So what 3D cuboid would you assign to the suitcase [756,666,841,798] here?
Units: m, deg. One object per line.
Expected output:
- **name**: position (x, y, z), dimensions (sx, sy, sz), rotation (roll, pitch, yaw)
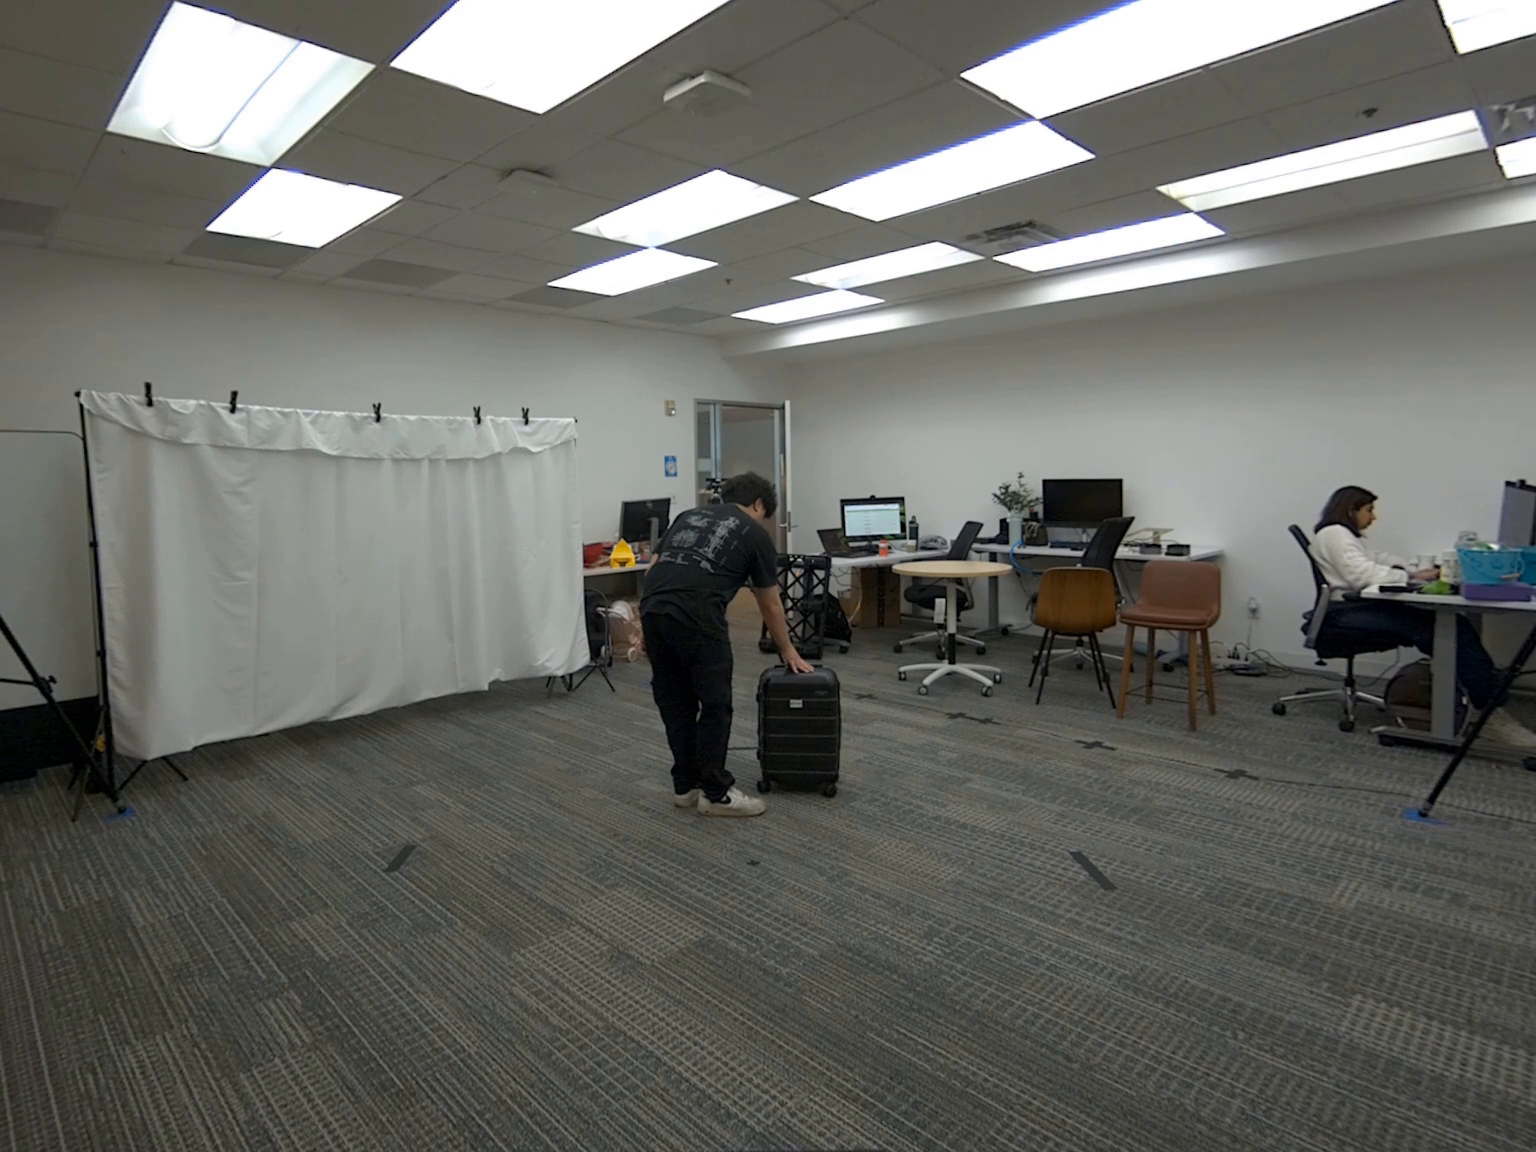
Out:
- **suitcase**: position (0.146, 0.677, 3.868), dimensions (0.377, 0.547, 0.248), rotation (0, 5, 5)
